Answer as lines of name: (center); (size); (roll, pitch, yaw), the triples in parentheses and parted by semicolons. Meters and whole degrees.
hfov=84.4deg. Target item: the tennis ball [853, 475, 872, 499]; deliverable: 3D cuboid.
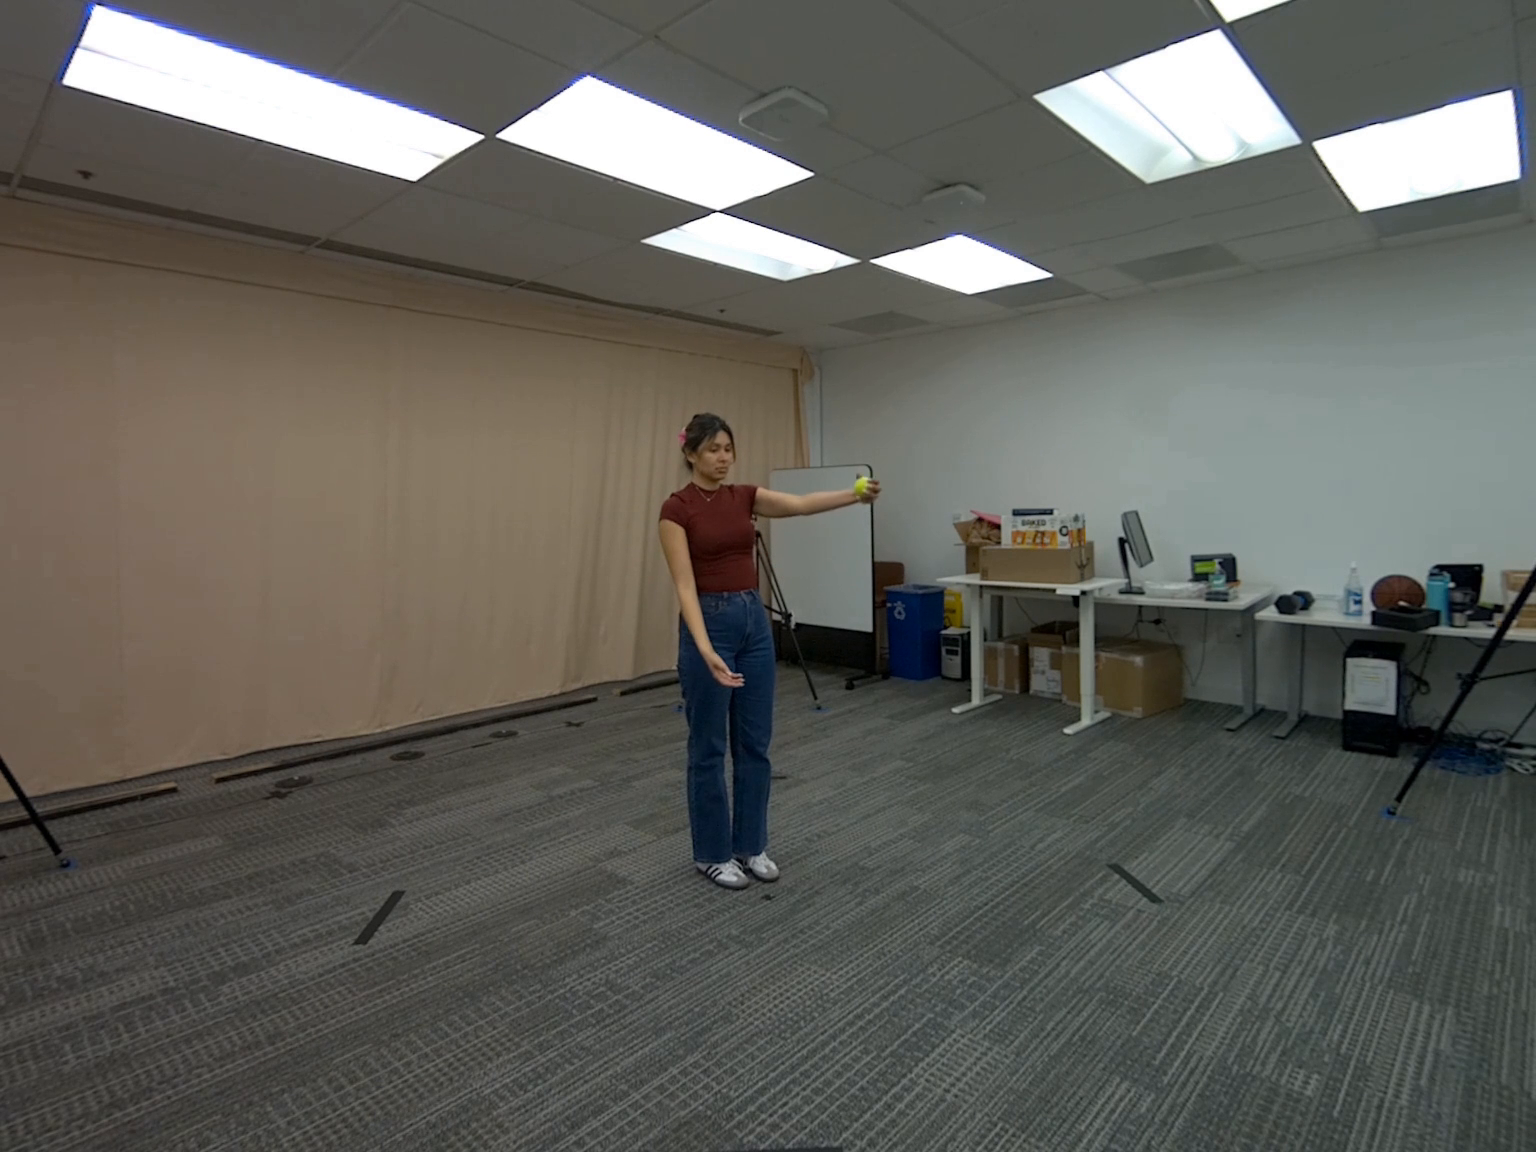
tennis ball: (0.334, -0.279, 2.778); (0.066, 0.066, 0.067); (-1, 4, -2)
